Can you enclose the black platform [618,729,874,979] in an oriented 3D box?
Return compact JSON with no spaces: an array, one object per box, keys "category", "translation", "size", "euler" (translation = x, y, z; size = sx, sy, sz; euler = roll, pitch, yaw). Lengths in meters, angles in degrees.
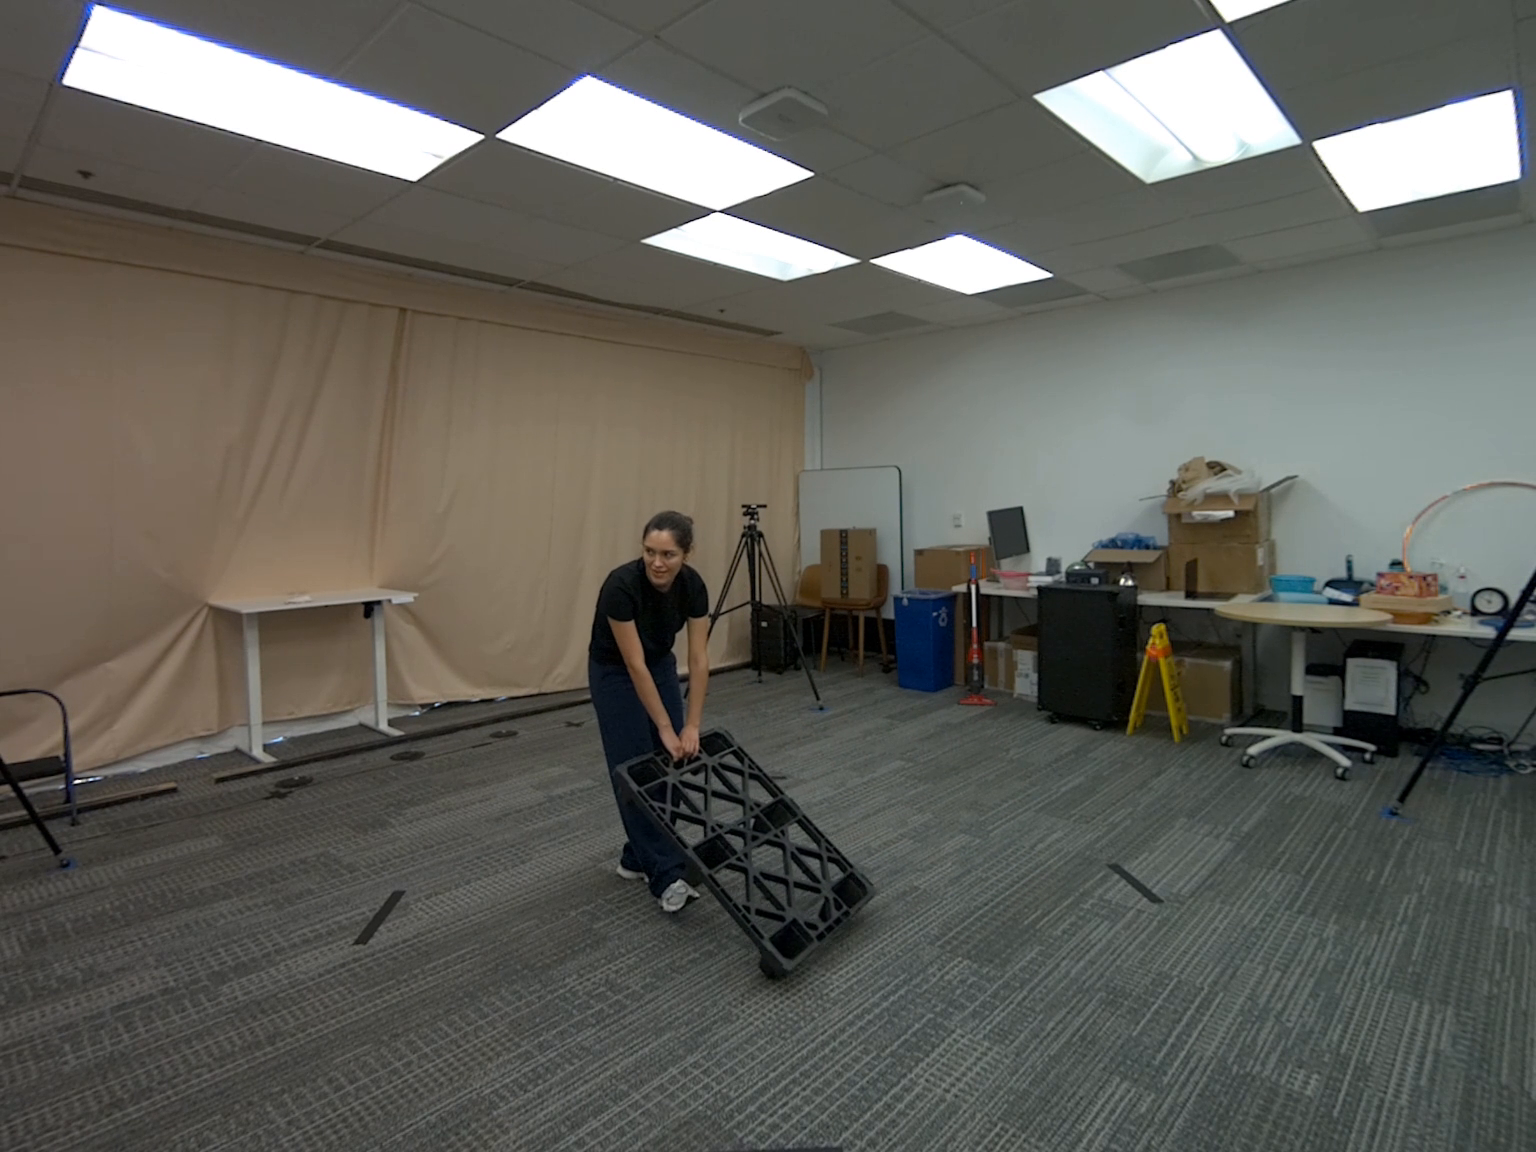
[{"category":"black platform","translation":[-0.074,0.886,2.792],"size":[0.828,0.143,0.588],"euler":[42,25,24]}]
